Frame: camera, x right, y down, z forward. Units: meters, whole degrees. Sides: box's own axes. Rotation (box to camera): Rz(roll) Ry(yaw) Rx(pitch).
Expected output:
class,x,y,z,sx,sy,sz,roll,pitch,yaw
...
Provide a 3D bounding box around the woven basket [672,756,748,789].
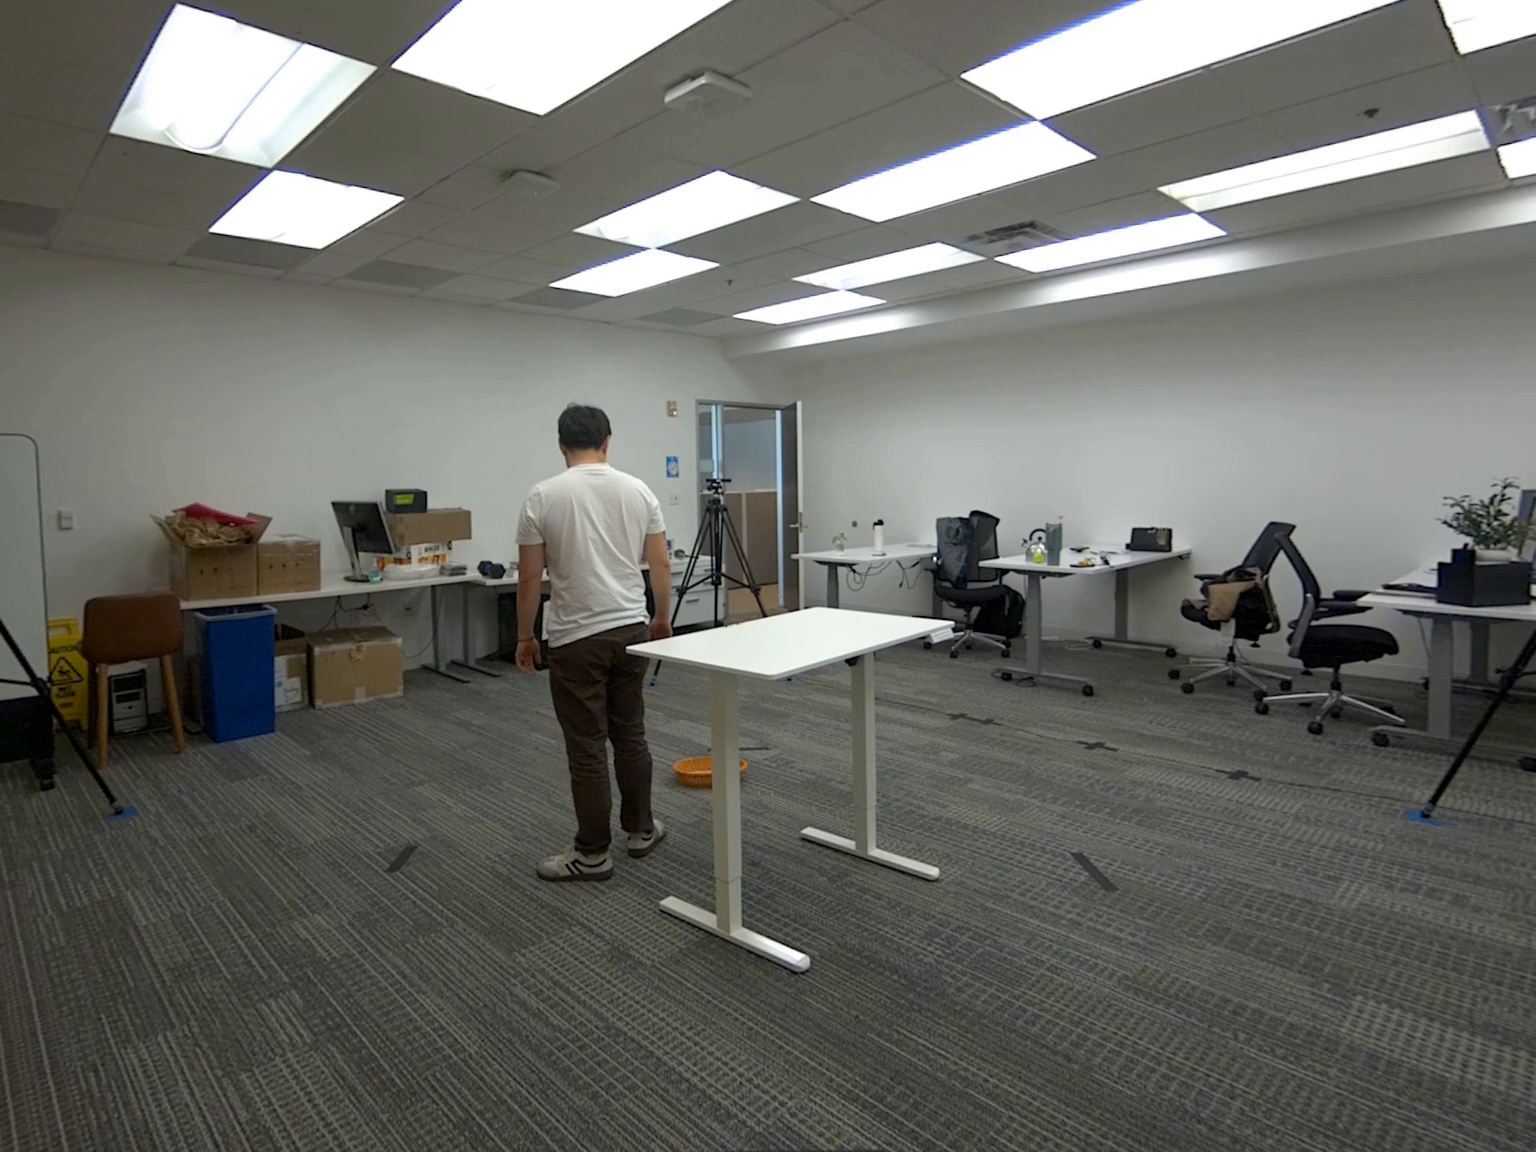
class,x,y,z,sx,sy,sz,roll,pitch,yaw
woven basket,-0.271,0.914,3.986,0.351,0.073,0.253,-1,5,1
